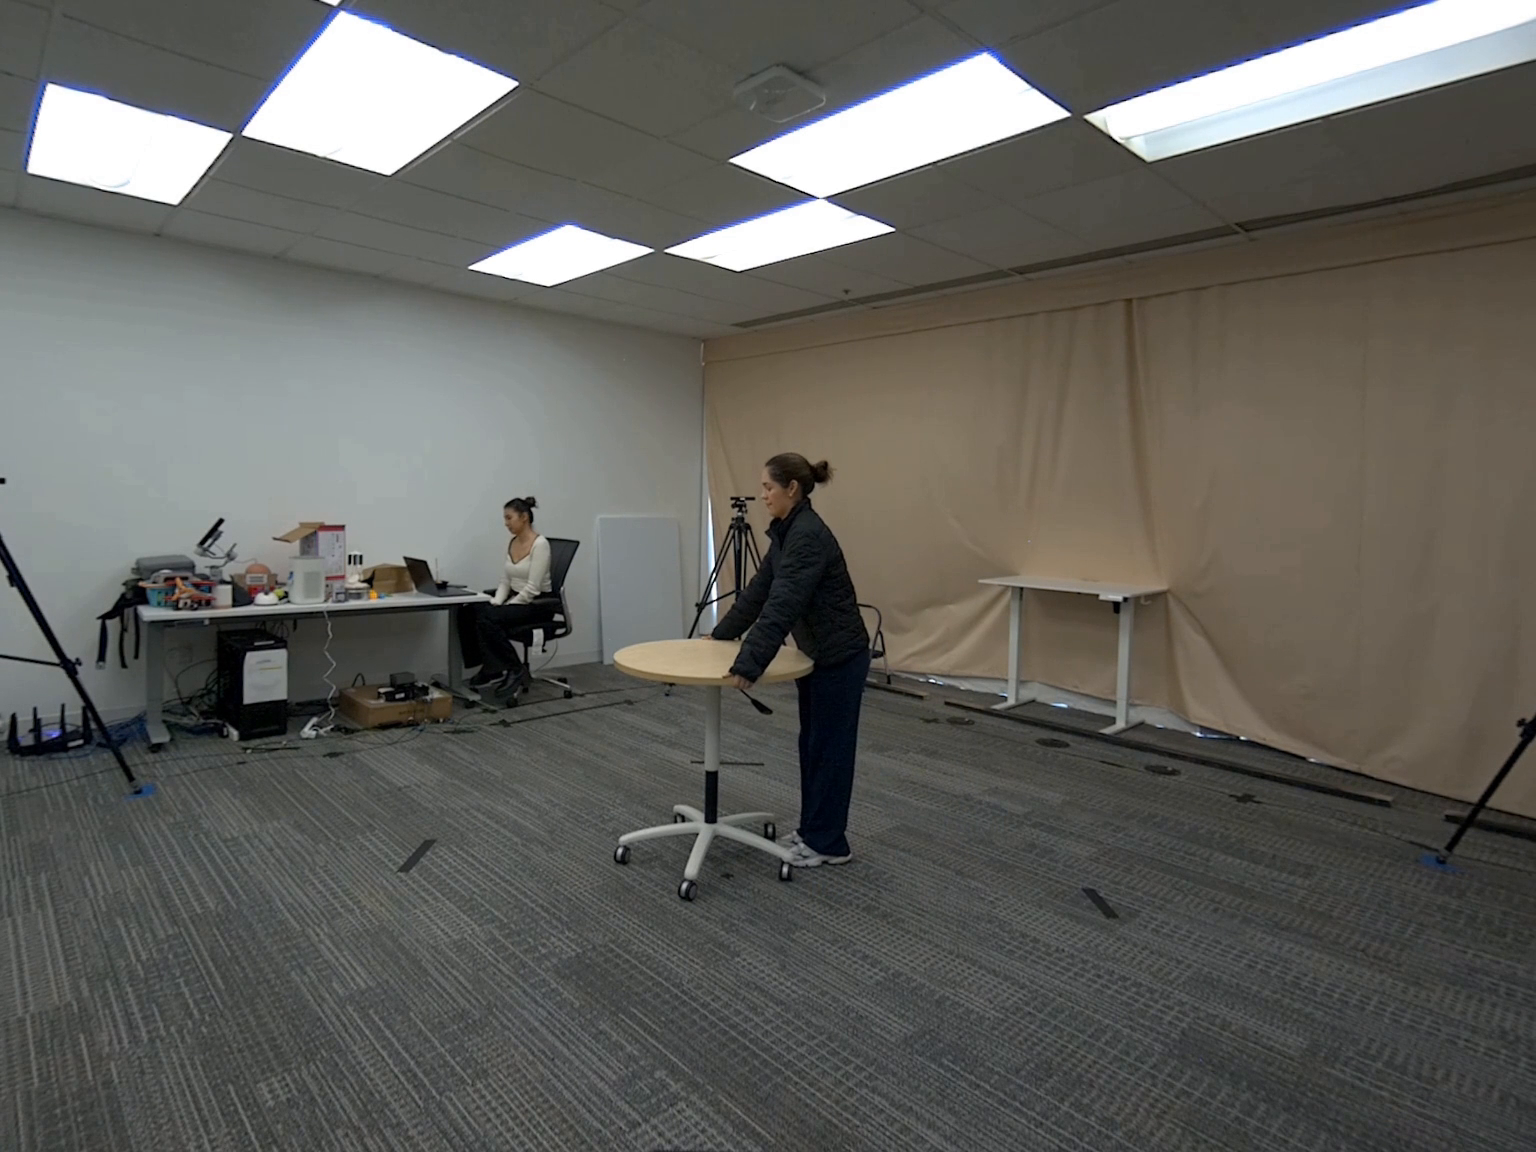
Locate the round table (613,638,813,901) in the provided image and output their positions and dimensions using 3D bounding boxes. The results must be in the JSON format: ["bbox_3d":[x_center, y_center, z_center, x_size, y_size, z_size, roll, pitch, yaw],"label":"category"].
[{"bbox_3d":[-0.209,0.697,3.236,0.784,0.784,0.788,1,4,-1],"label":"round table"}]
